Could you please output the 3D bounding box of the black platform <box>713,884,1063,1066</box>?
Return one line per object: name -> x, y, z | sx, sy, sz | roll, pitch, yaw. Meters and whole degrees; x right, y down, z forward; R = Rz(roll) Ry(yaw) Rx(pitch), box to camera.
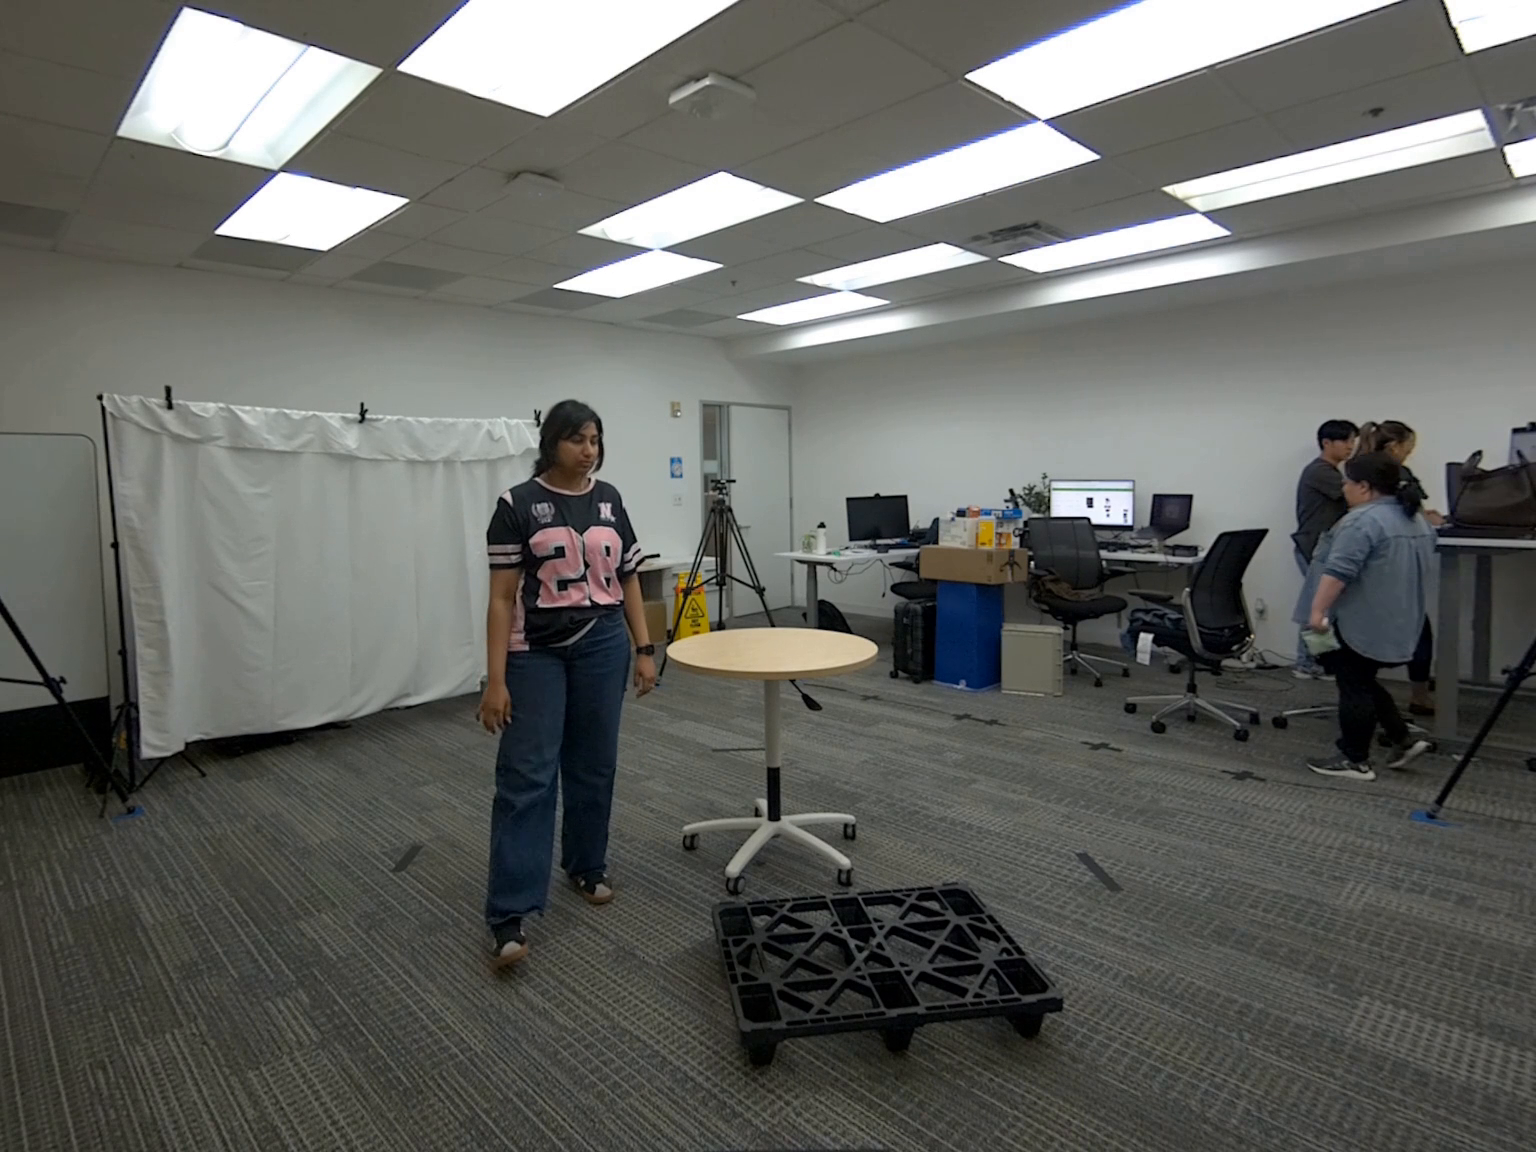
black platform -> 0.278, 1.066, 2.311 | 0.800, 0.143, 0.612 | -2, 6, -8
